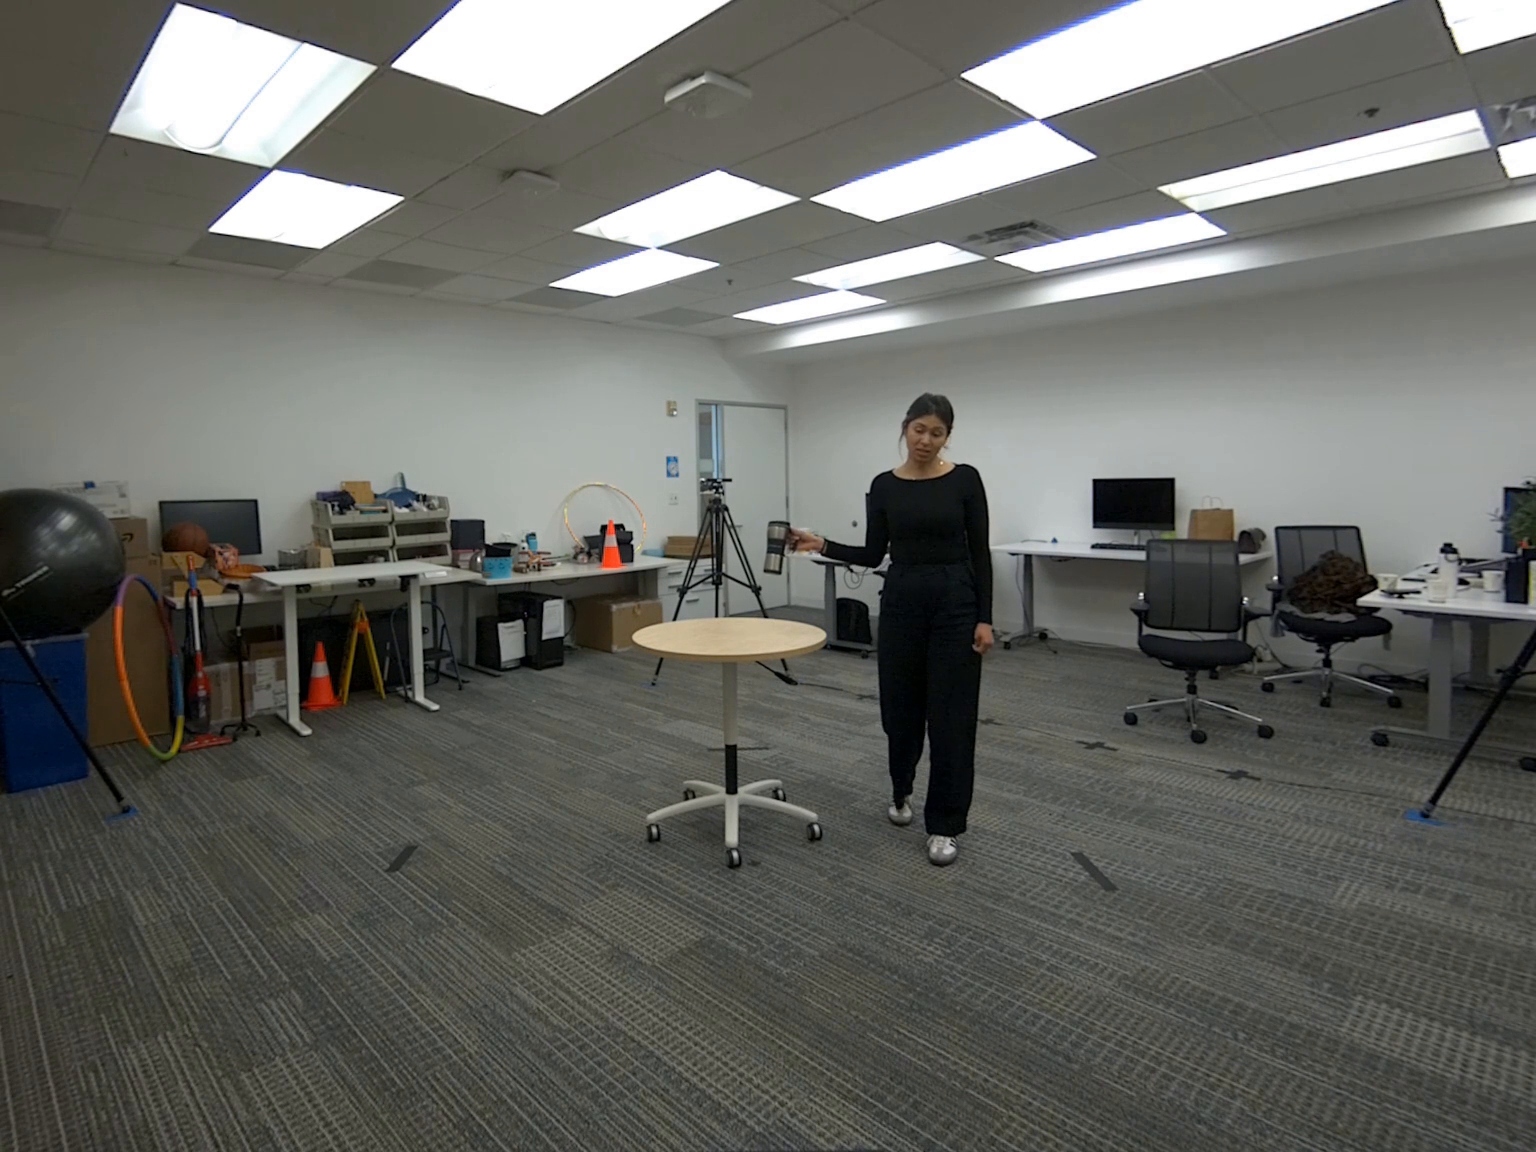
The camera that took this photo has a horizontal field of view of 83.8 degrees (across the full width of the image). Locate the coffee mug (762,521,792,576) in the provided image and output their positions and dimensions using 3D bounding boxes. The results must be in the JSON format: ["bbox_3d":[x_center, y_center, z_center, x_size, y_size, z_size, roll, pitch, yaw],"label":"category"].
[{"bbox_3d":[0.057,-0.107,3.306,0.125,0.204,0.085,3,-8,25],"label":"coffee mug"}]
